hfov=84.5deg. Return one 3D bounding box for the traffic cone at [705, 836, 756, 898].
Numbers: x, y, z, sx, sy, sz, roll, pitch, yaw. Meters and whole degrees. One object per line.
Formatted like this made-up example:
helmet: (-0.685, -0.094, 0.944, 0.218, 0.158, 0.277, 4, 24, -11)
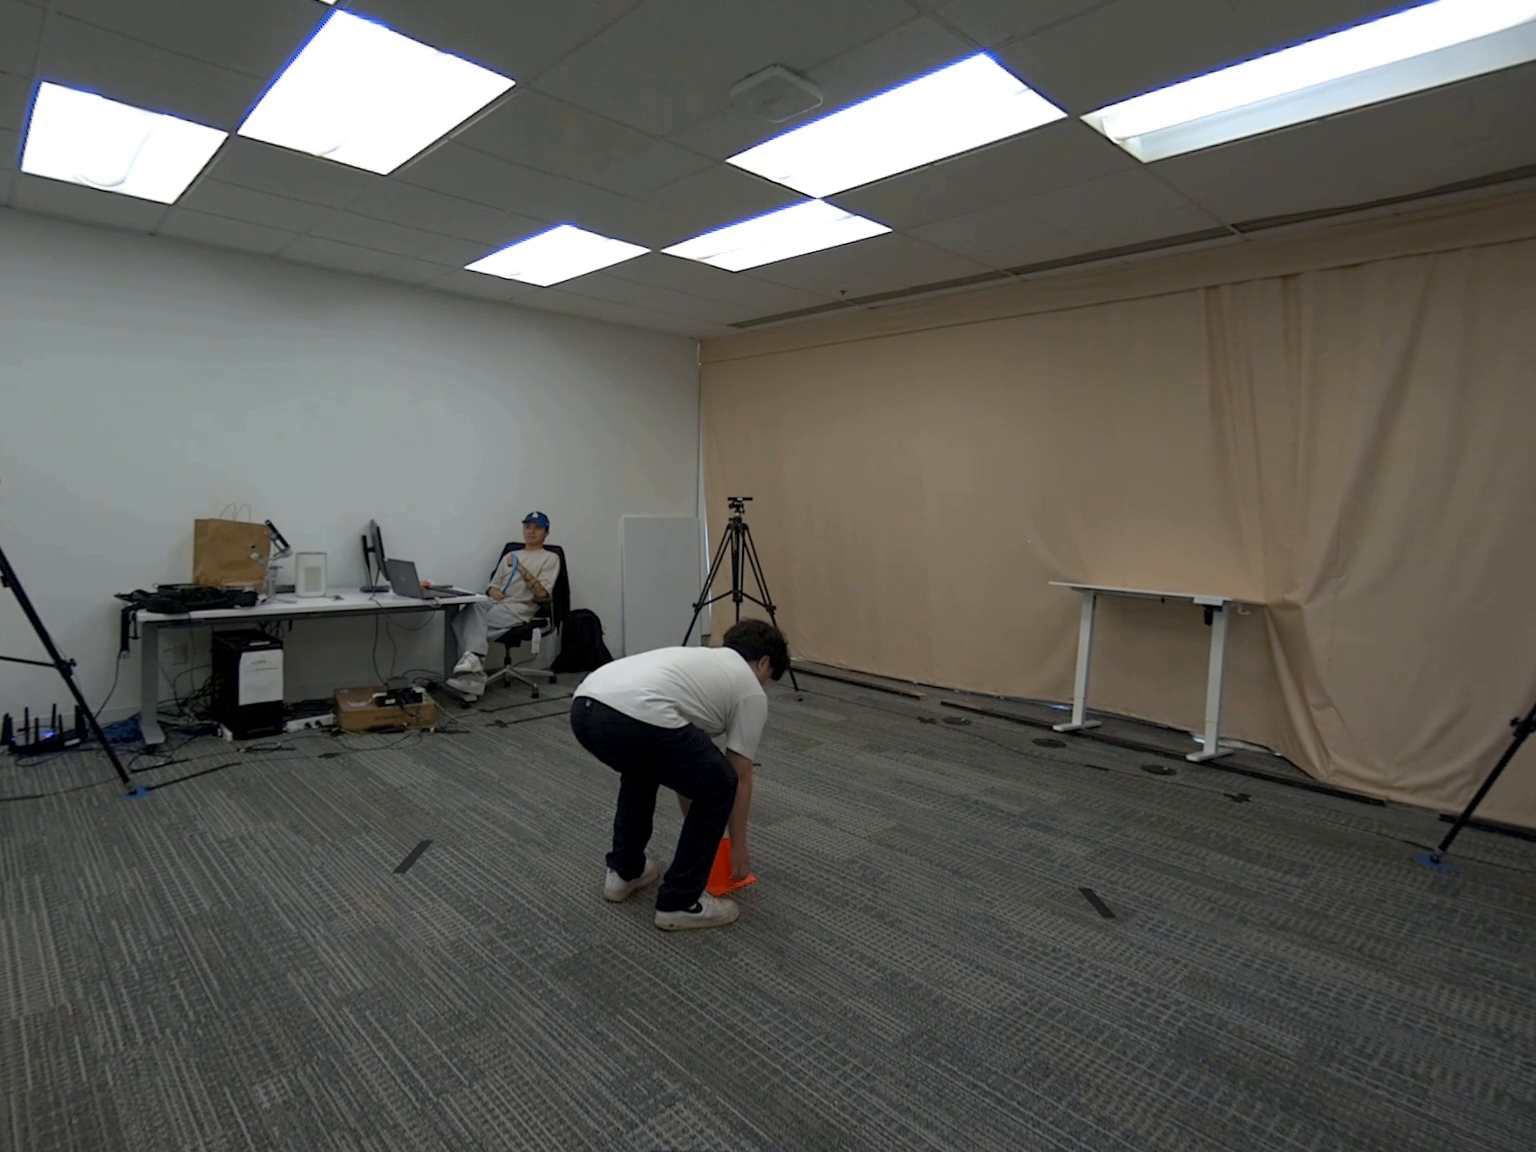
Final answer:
traffic cone: (-0.191, 0.930, 3.074, 0.199, 0.383, 0.209, -3, 2, -34)
